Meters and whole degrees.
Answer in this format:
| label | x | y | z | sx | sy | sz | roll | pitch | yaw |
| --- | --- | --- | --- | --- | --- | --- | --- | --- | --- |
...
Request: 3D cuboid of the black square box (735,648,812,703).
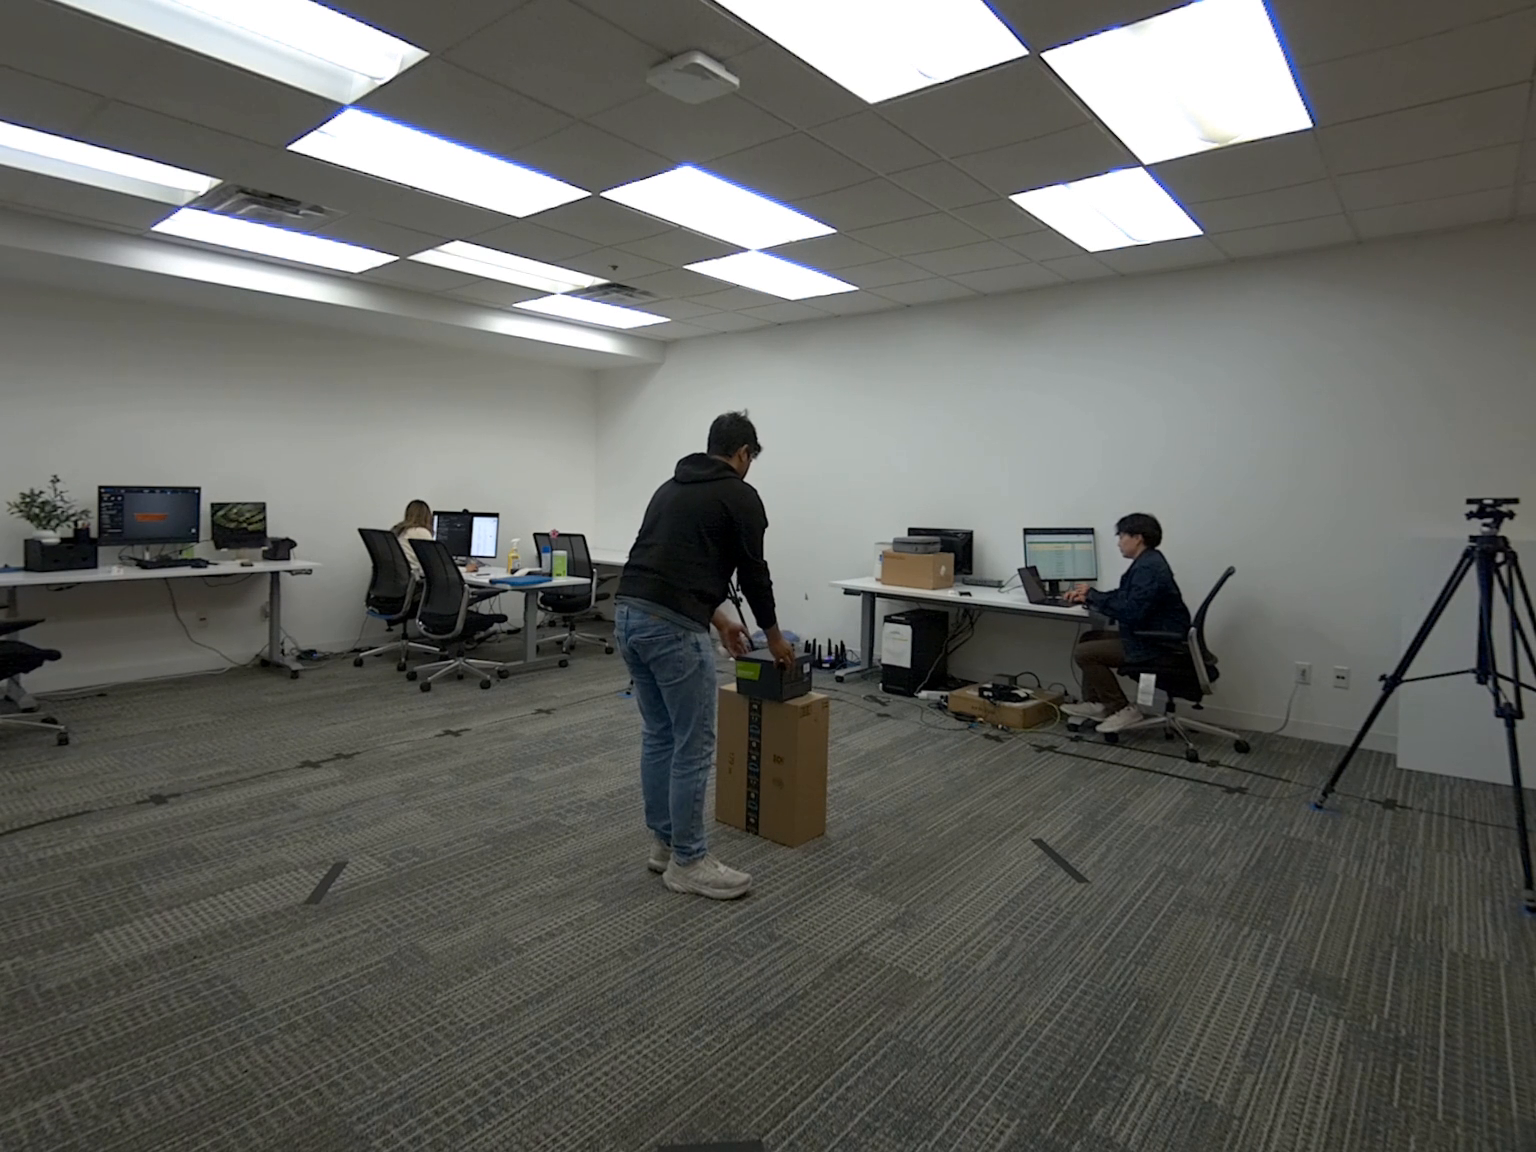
| label | x | y | z | sx | sy | sz | roll | pitch | yaw |
| --- | --- | --- | --- | --- | --- | --- | --- | --- | --- |
| black square box | 0.014 | 0.382 | 3.437 | 0.235 | 0.155 | 0.211 | 4 | 7 | 37 |
